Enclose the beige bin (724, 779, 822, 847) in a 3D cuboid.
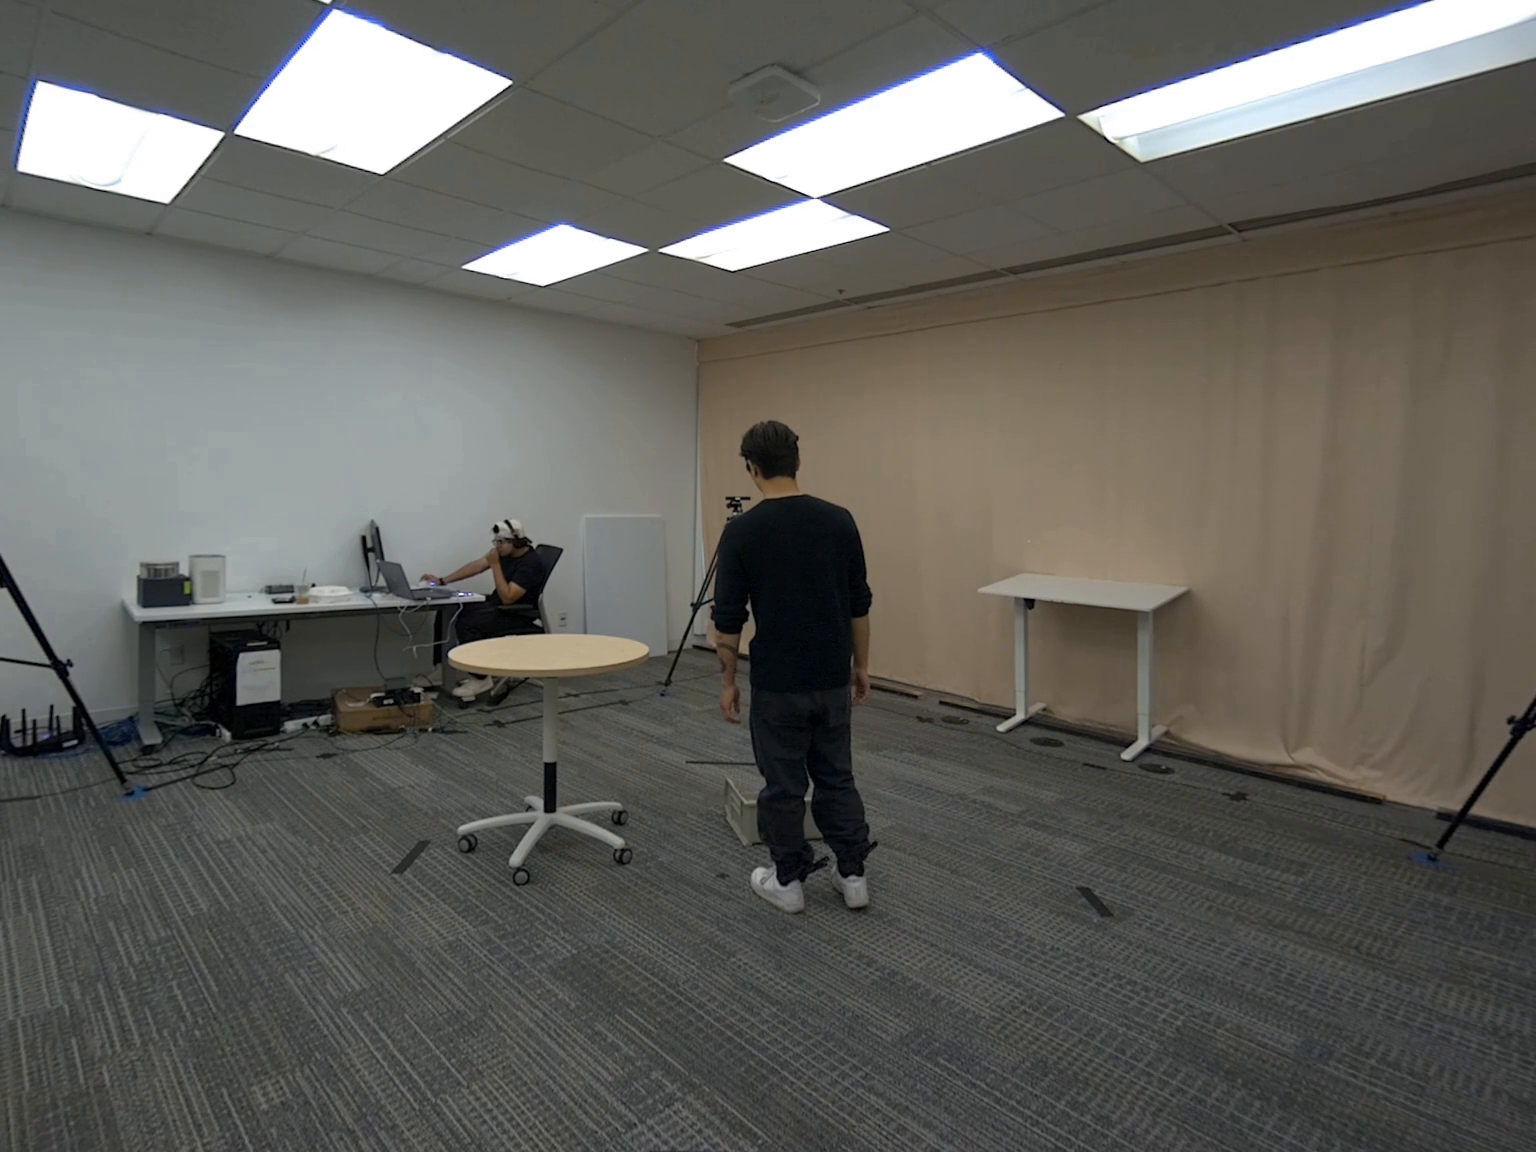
[{"bbox_3d":[0.050,0.979,3.590,0.417,0.188,0.383,1,5,-15],"label":"beige bin"}]
